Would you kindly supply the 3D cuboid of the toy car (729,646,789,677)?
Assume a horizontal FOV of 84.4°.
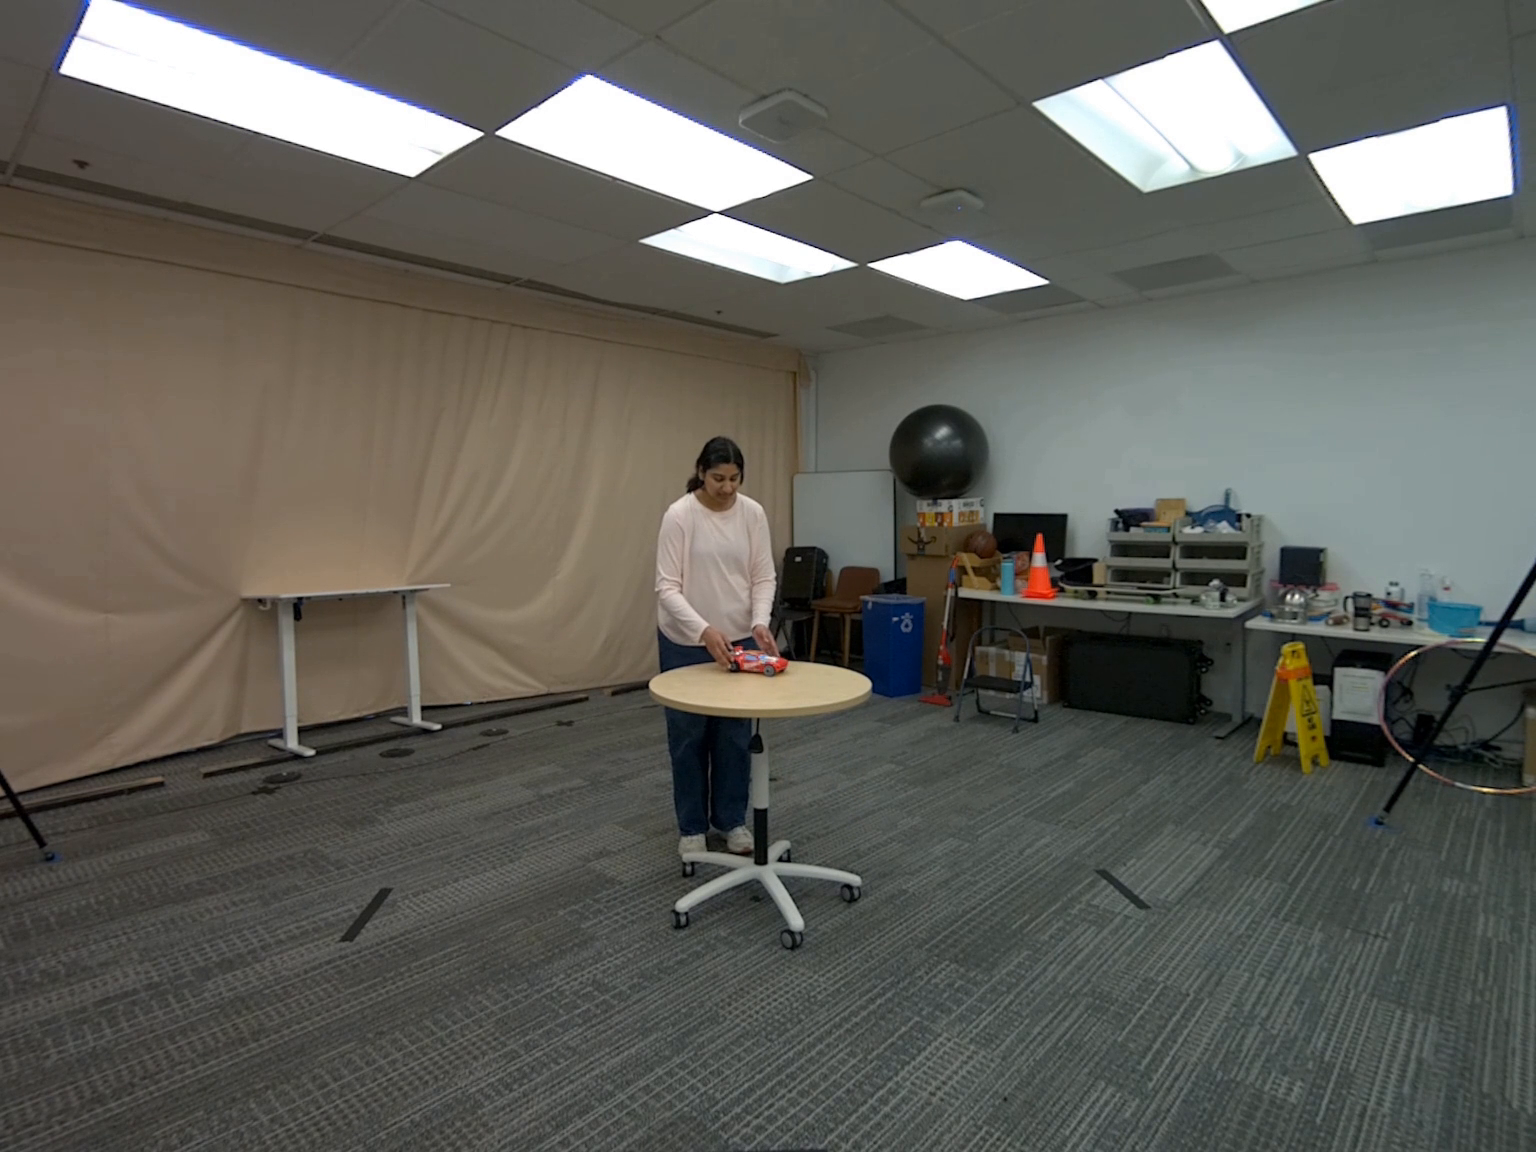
[{"bbox_3d":[-0.054,0.319,3.092,0.262,0.083,0.127,13,11,28],"label":"toy car"}]
